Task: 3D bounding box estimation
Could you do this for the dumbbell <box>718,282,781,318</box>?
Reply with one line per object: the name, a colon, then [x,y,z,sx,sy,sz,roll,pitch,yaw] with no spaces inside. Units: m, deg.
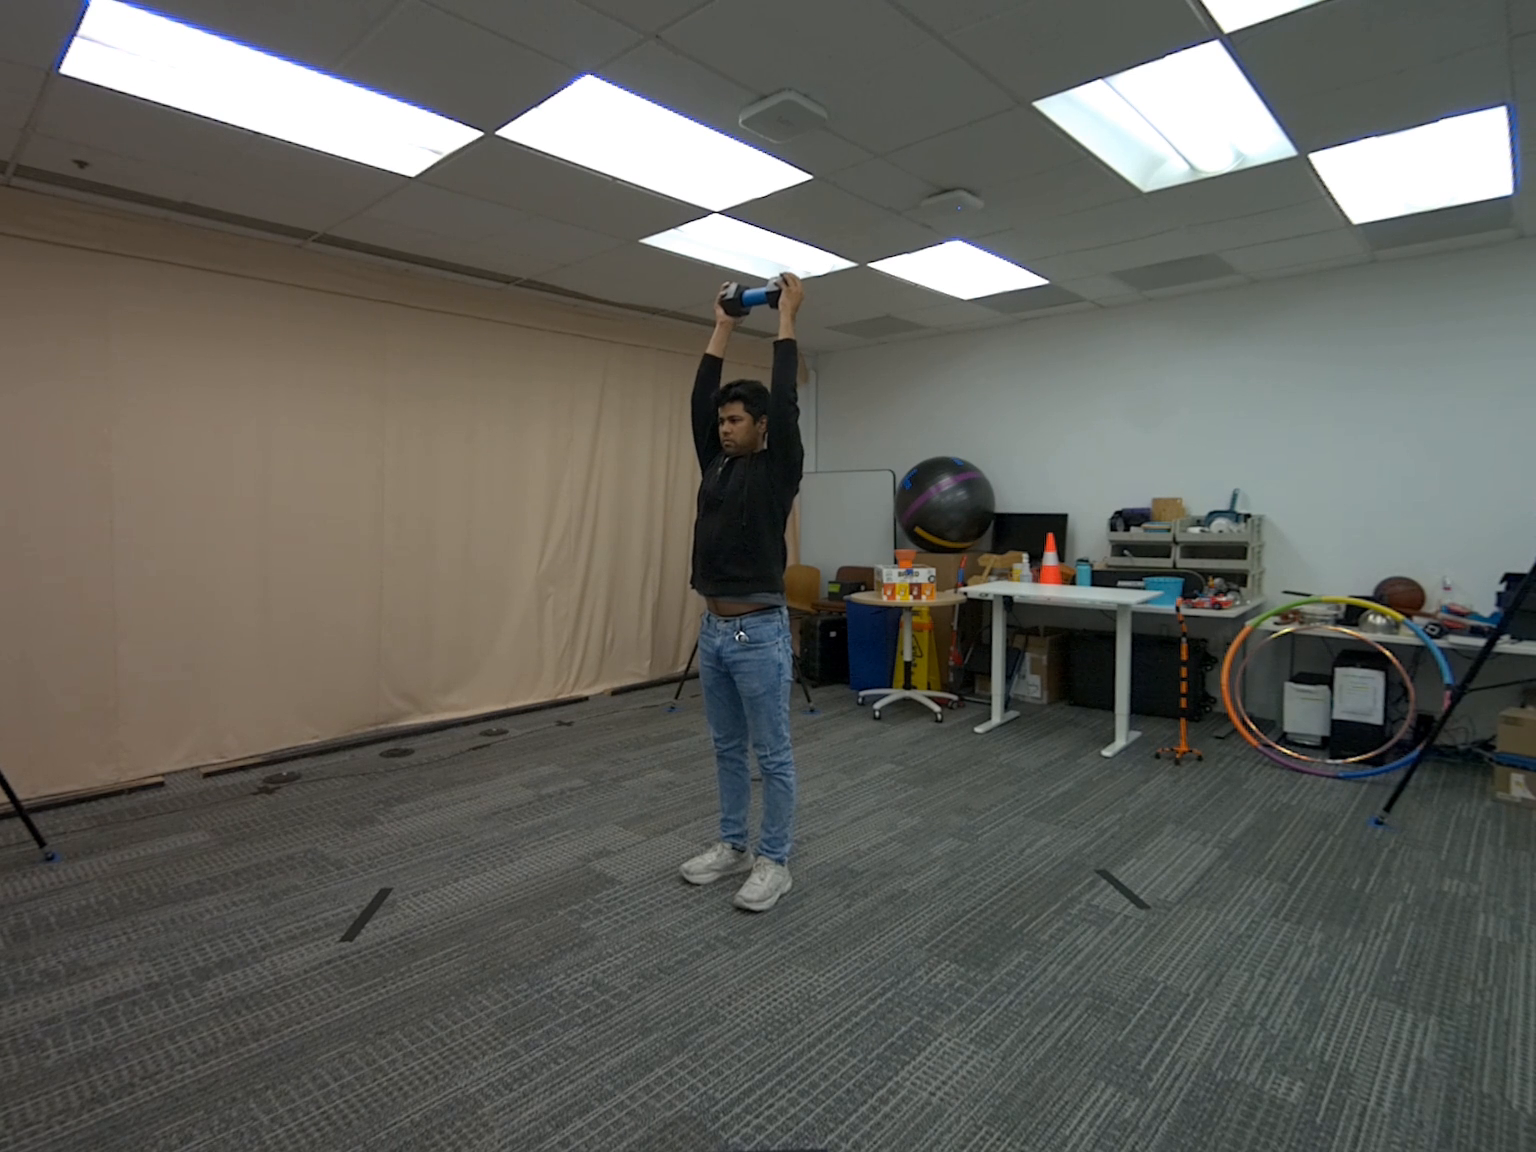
dumbbell: [-0.027,-1.007,3.040,0.304,0.108,0.119,9,12,42]
